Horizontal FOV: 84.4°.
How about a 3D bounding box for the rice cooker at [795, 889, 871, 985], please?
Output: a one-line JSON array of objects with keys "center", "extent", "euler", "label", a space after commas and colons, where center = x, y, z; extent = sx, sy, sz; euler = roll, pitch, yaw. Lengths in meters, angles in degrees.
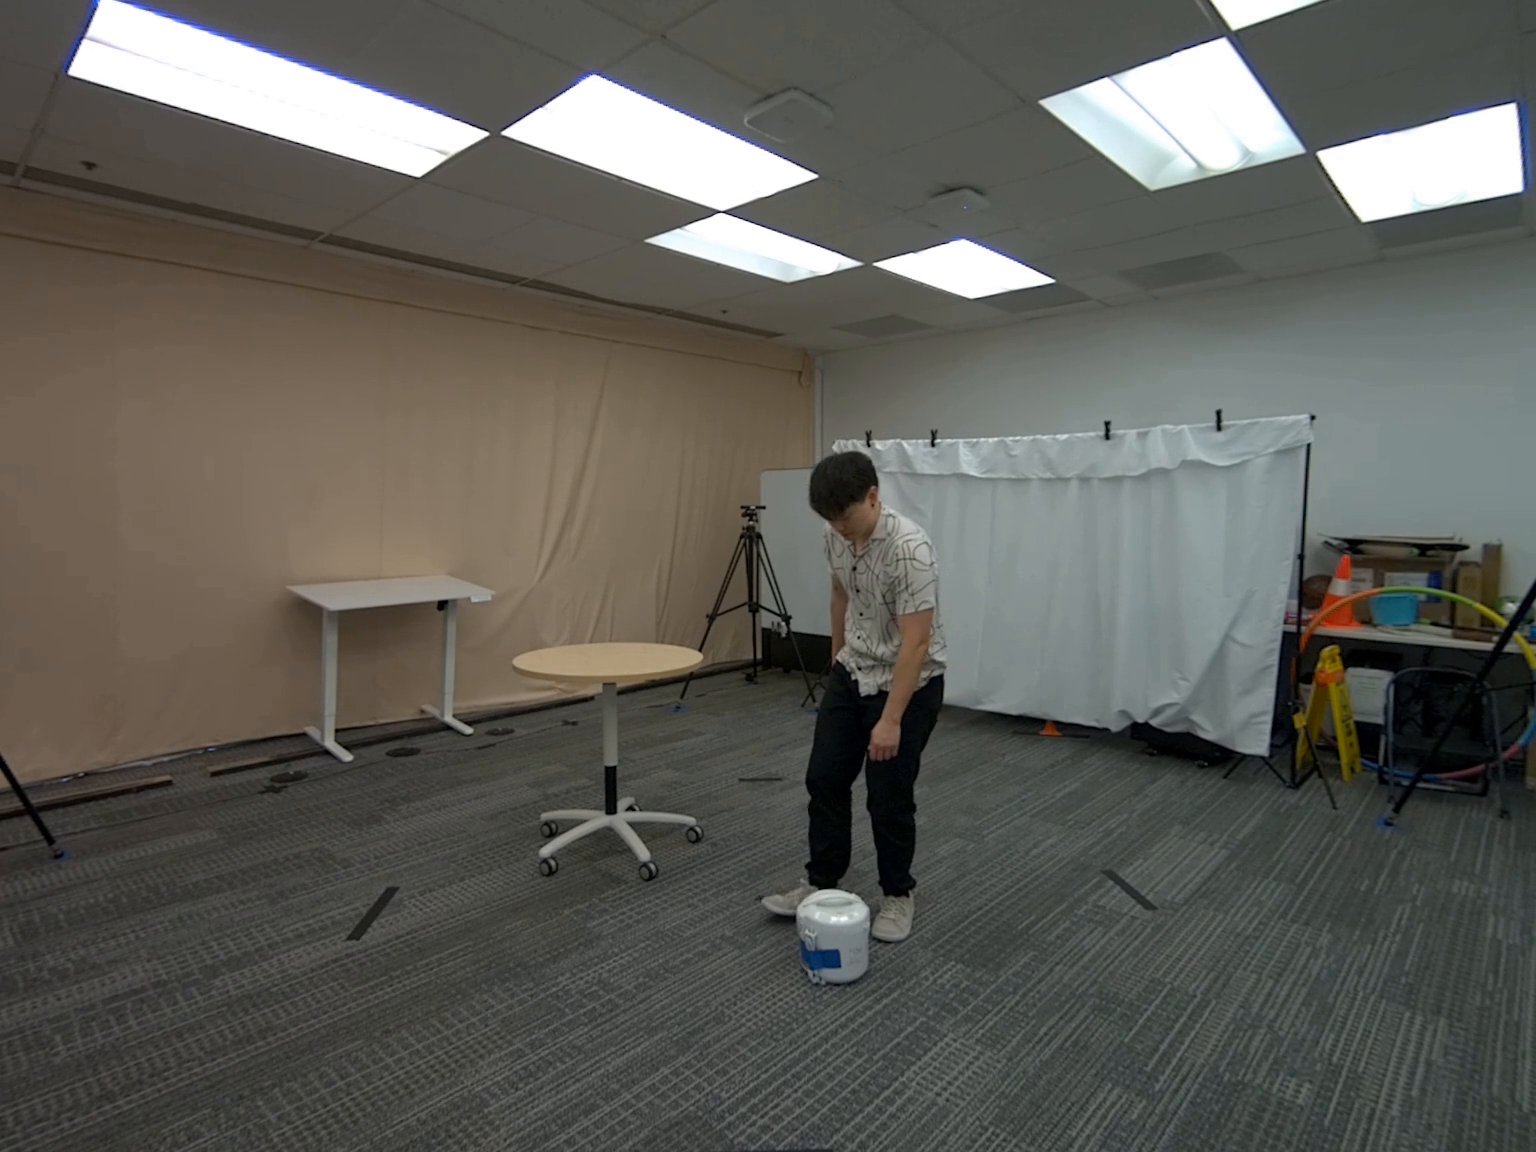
[{"center": [0.198, 1.067, 2.520], "extent": [0.219, 0.232, 0.219], "euler": [0, 4, -6], "label": "rice cooker"}]
